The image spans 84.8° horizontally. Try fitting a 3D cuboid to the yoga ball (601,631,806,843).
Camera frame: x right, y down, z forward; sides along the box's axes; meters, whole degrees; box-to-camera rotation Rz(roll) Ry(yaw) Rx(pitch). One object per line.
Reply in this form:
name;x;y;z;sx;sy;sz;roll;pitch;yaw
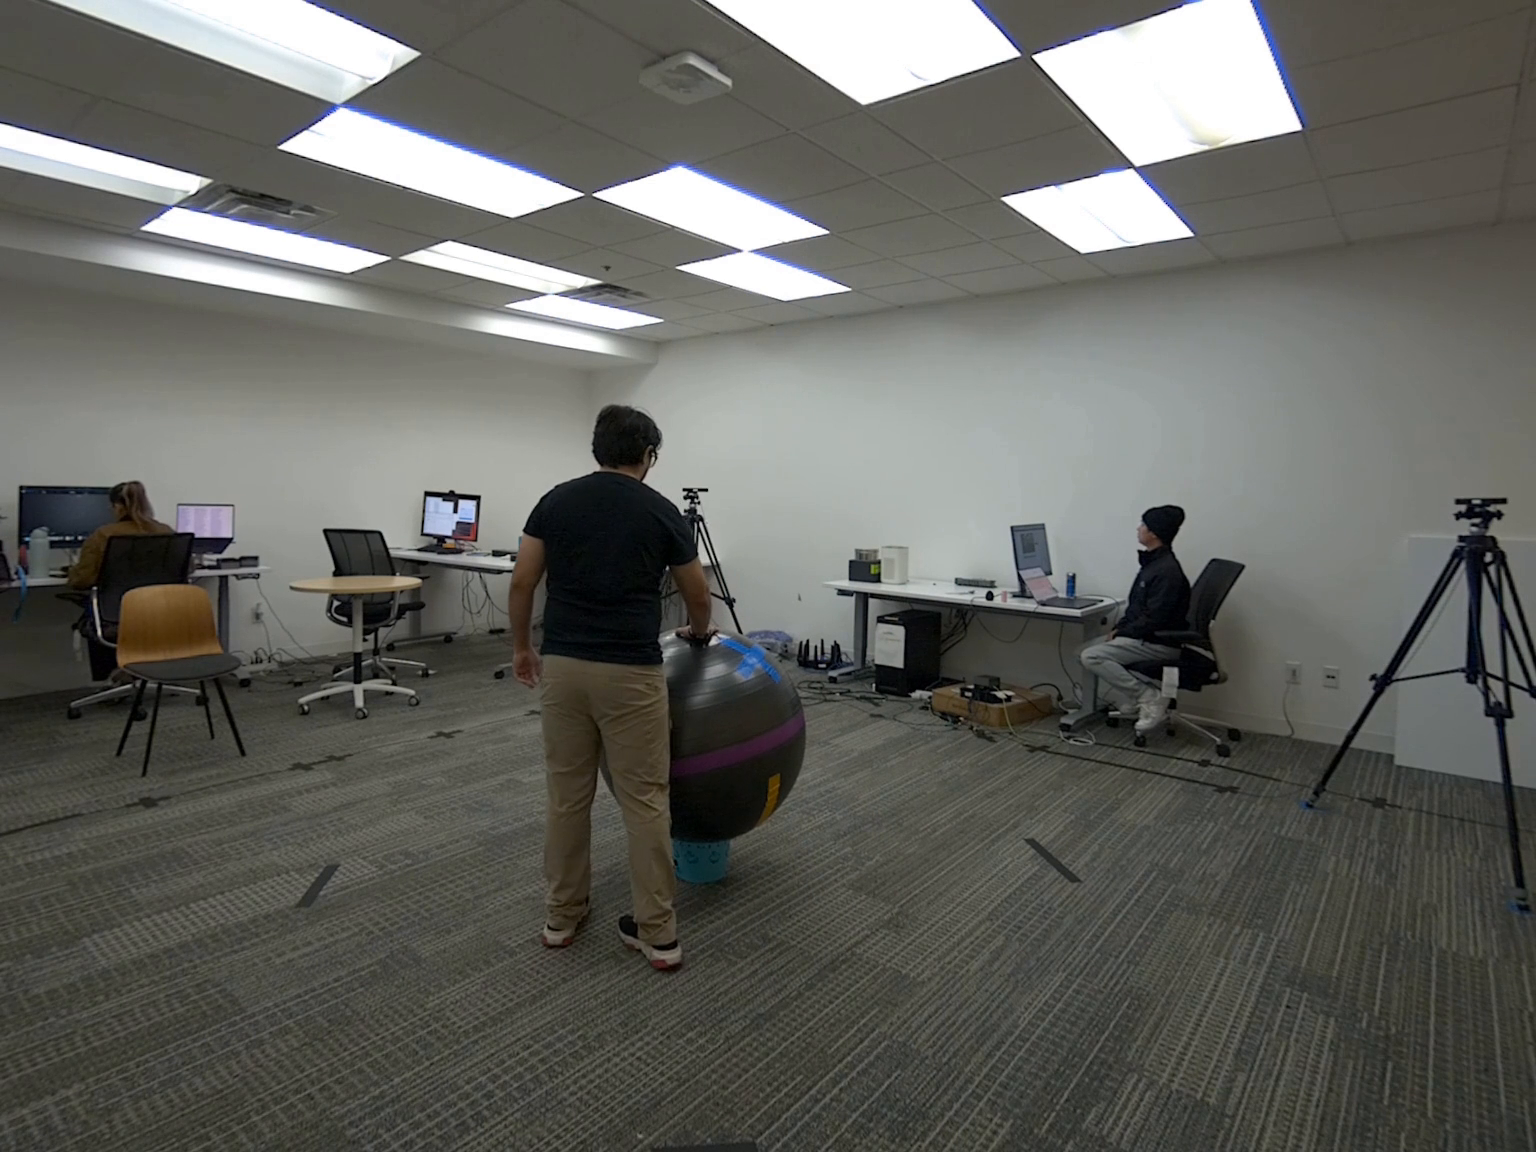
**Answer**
yoga ball;-0.258;0.564;3.072;0.757;0.756;0.762;1;4;-2
